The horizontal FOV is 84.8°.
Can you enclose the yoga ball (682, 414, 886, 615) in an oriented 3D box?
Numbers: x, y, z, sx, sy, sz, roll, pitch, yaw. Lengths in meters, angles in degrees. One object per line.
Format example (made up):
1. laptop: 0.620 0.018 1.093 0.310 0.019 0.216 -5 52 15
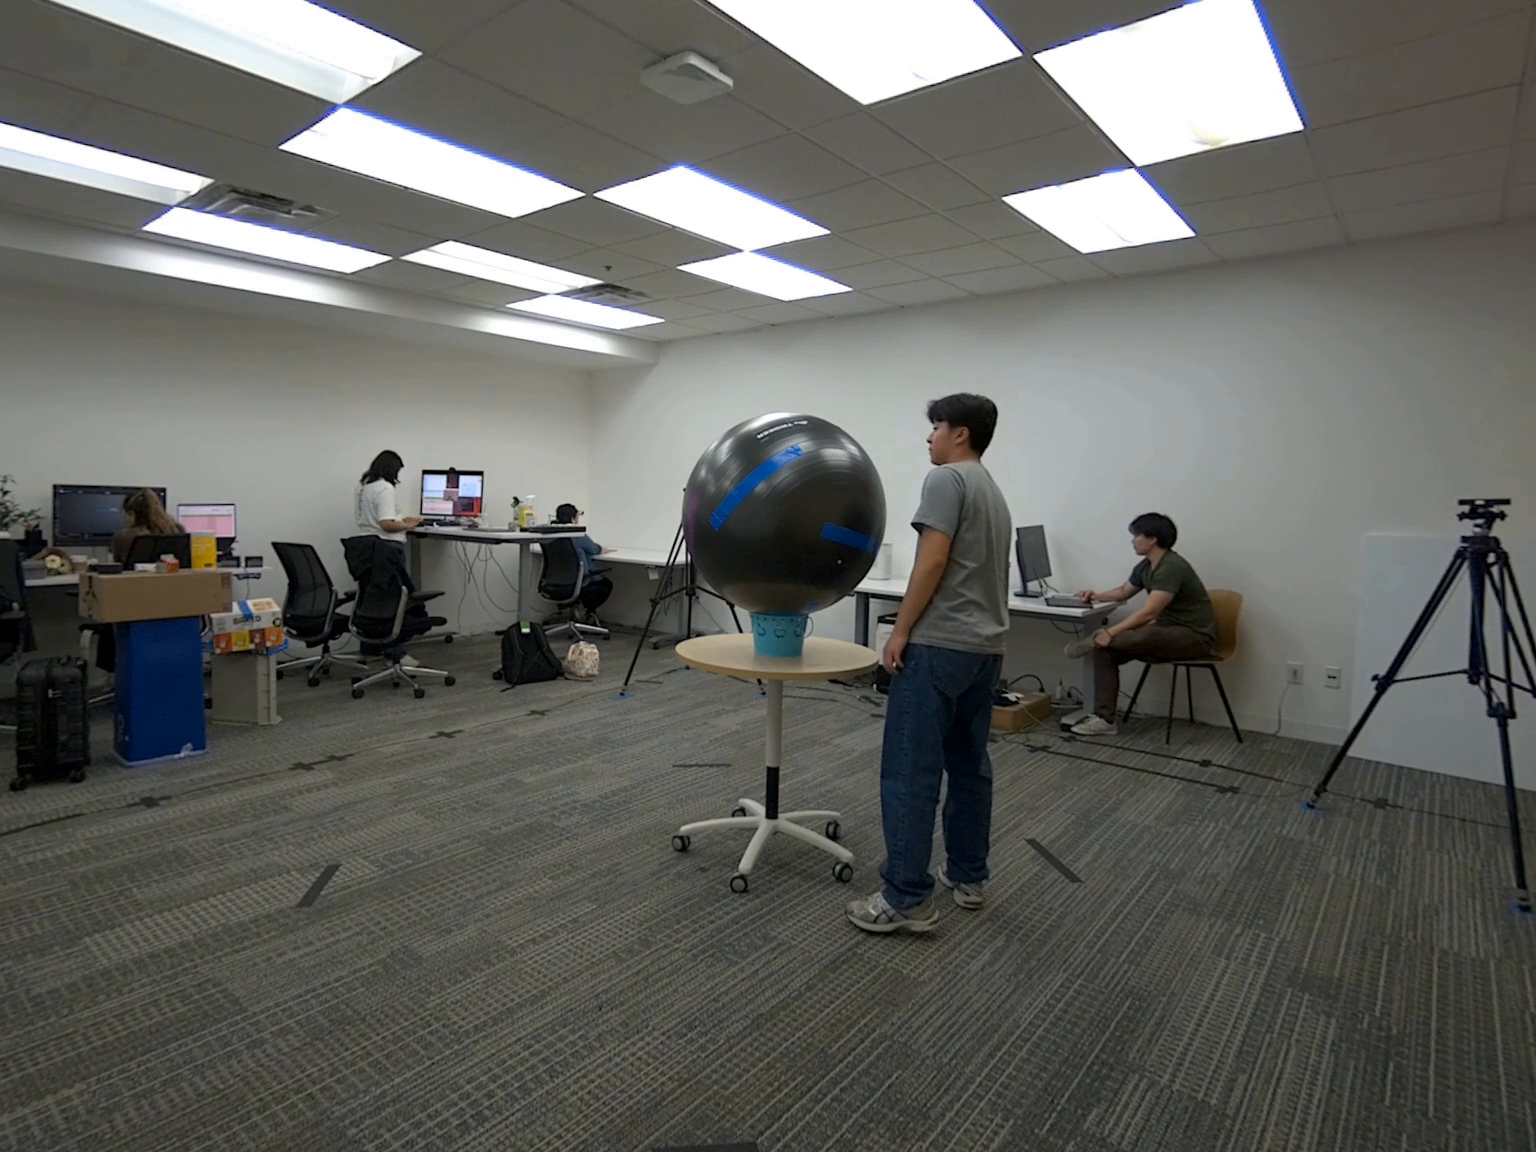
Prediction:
1. yoga ball: 0.043 -0.228 3.180 0.757 0.755 0.762 1 4 -2
